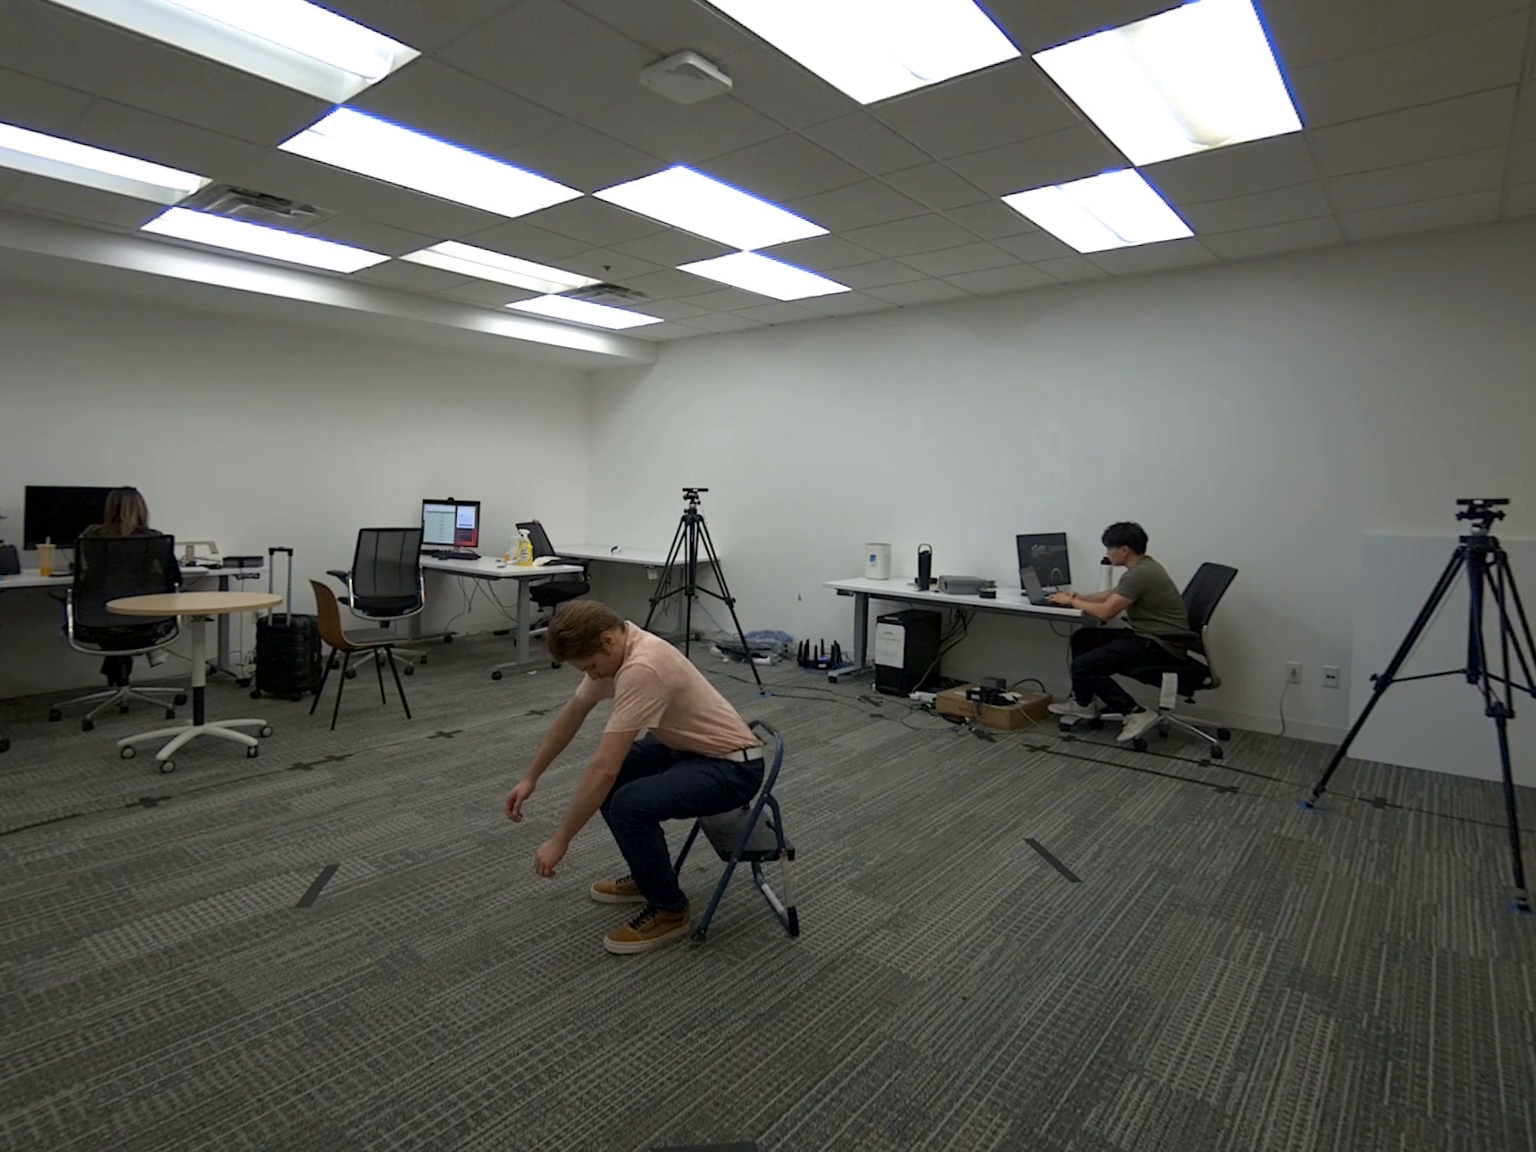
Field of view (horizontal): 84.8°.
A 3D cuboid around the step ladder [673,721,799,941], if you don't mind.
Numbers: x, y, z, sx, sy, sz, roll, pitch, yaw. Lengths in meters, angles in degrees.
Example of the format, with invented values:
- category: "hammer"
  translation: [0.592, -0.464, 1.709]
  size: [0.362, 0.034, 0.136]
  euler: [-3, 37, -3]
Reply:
- category: "step ladder"
  translation: [-0.104, 0.795, 2.790]
  size: [0.343, 0.605, 0.439]
  euler: [5, 2, -18]
